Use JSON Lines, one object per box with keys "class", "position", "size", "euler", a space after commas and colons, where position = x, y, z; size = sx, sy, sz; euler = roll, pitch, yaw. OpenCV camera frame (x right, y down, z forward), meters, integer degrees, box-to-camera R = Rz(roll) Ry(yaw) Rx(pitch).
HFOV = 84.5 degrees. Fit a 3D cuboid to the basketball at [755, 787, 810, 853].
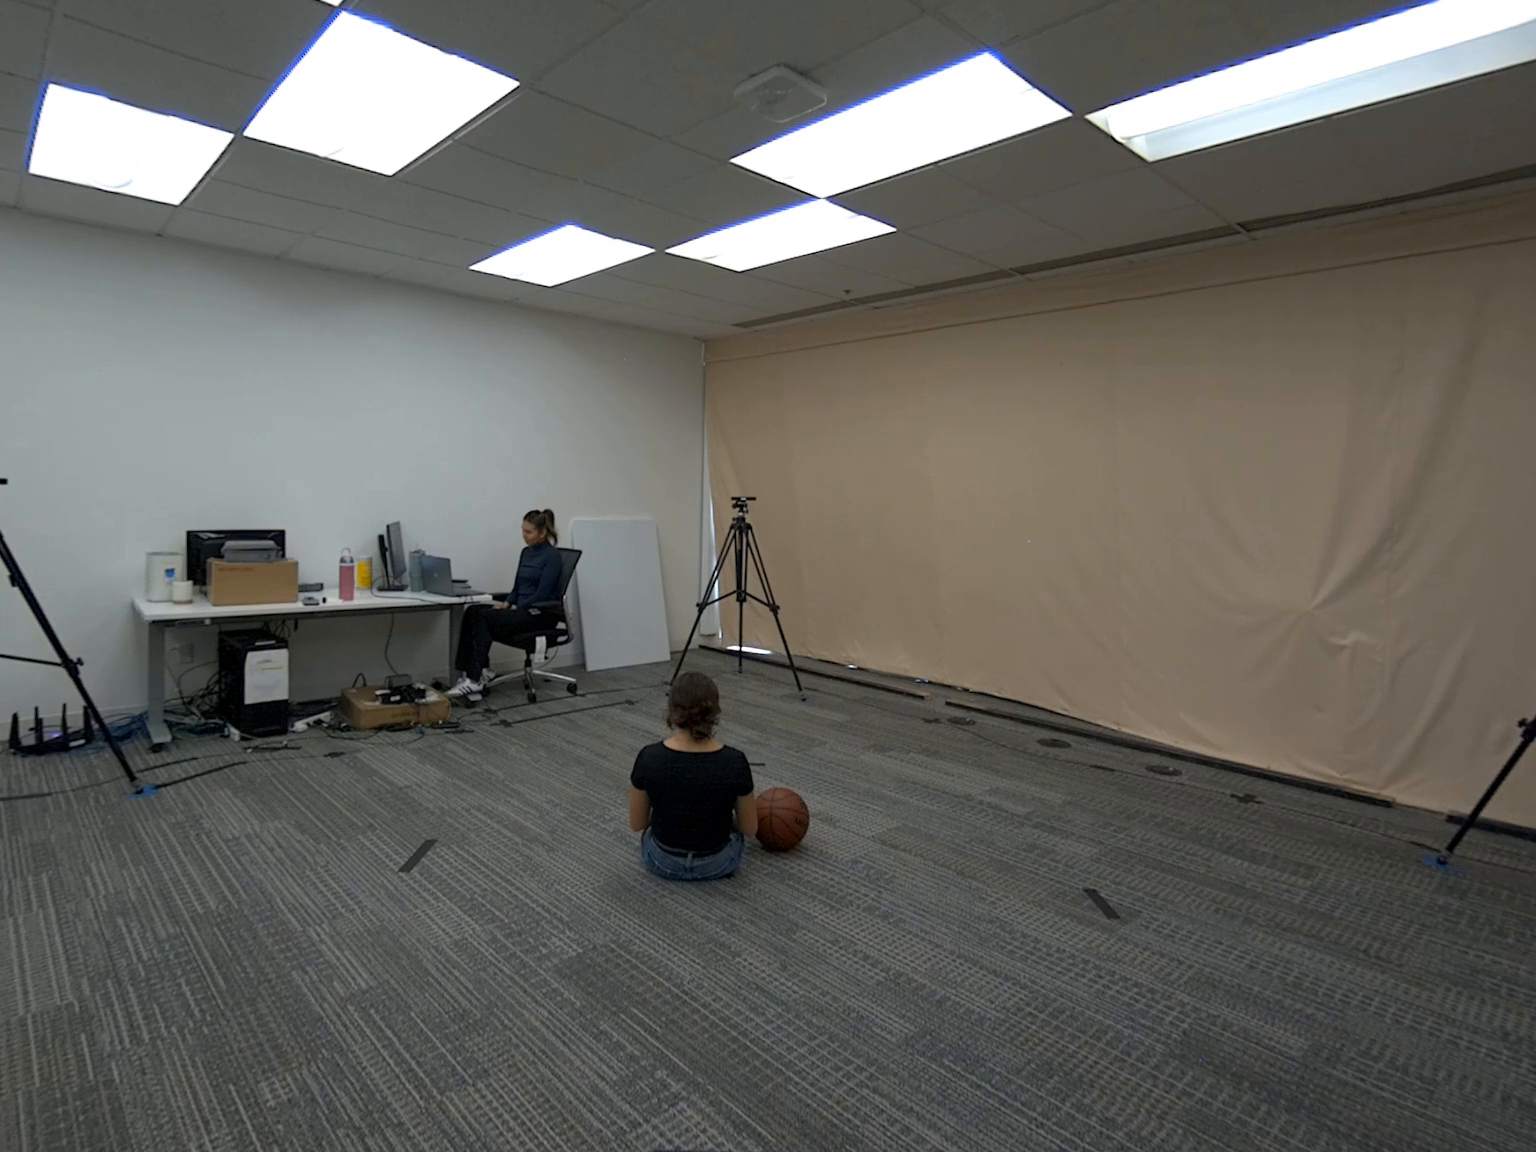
{"class": "basketball", "position": [0.041, 0.967, 3.369], "size": [0.236, 0.235, 0.237], "euler": [1, 4, -1]}
